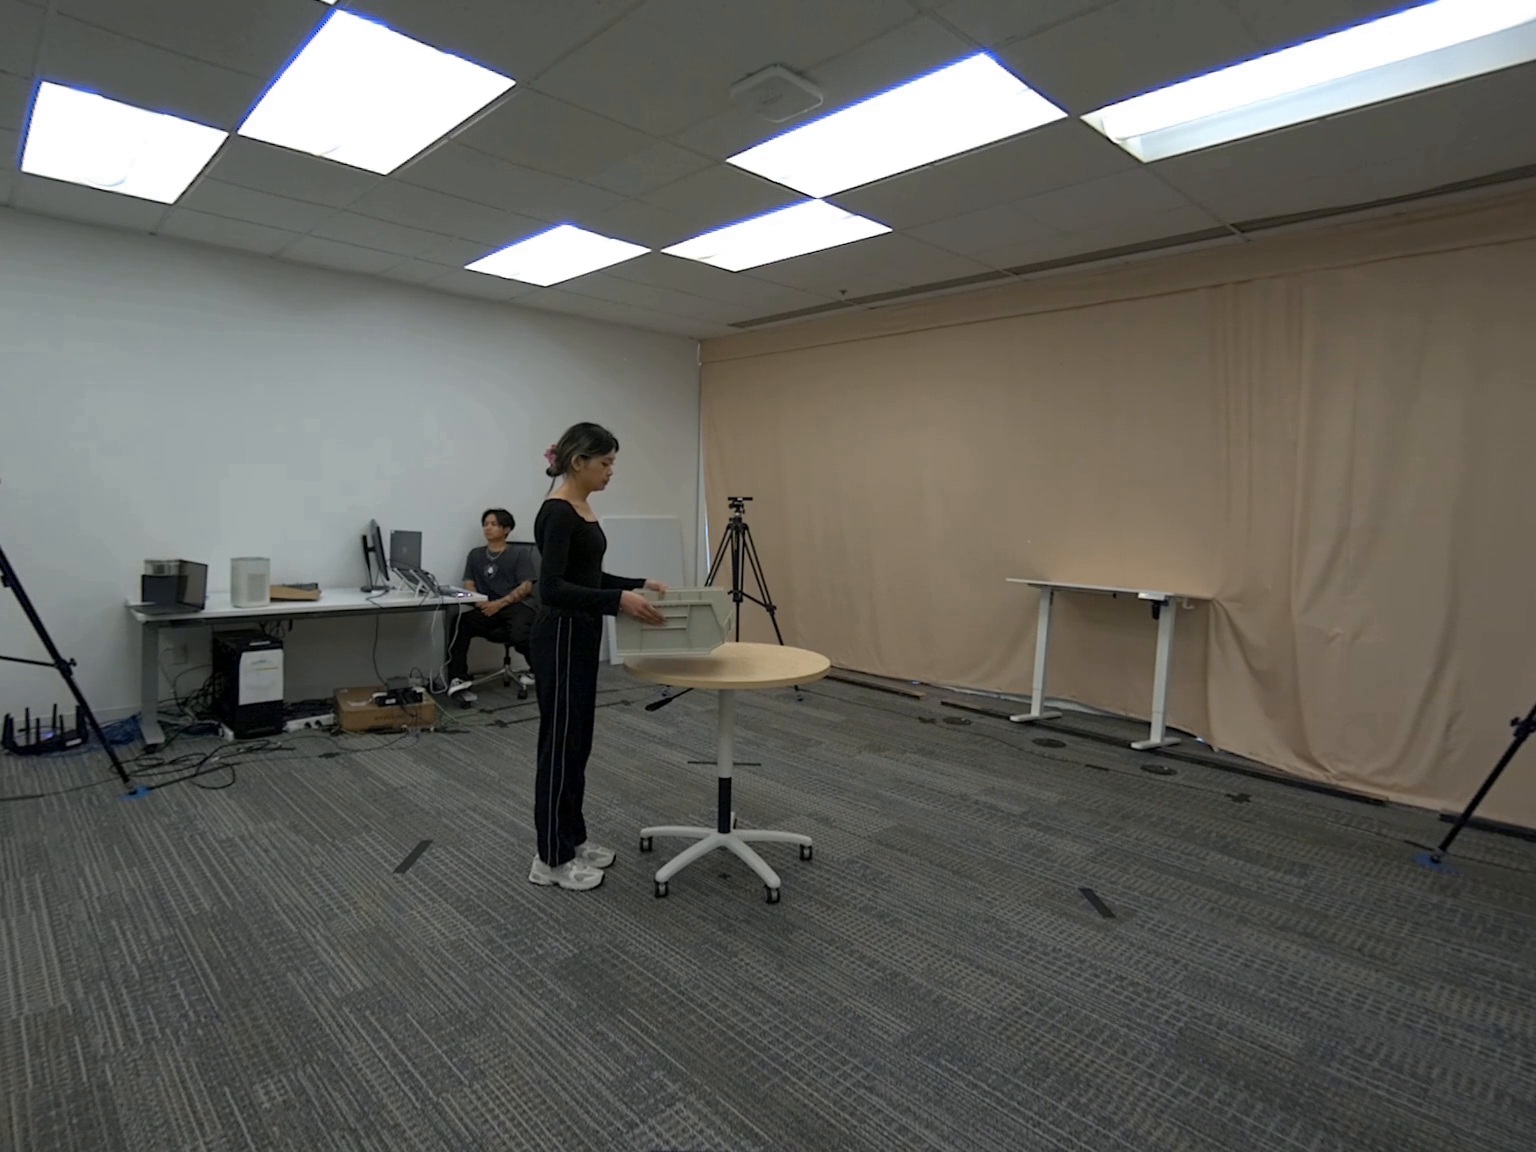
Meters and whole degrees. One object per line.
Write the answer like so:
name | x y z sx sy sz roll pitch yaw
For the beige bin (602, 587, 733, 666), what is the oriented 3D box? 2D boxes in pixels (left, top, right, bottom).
beige bin | -0.326 0.169 2.971 0.378 0.188 0.424 -3 8 2
